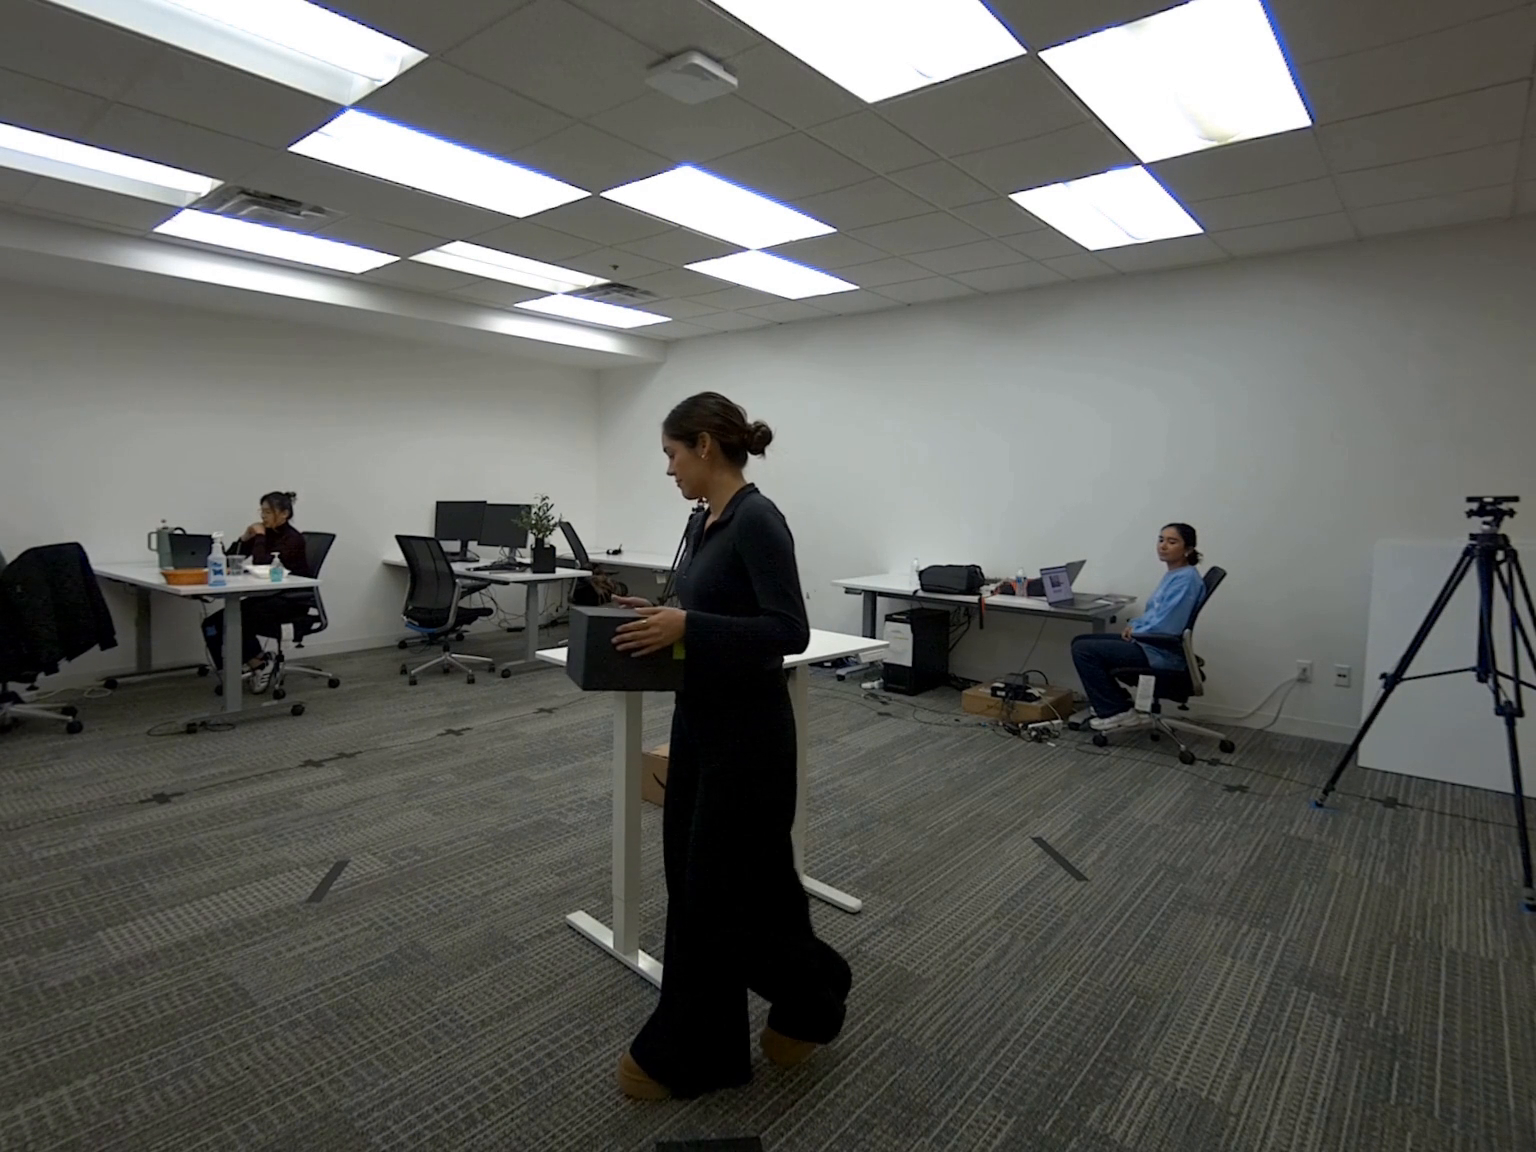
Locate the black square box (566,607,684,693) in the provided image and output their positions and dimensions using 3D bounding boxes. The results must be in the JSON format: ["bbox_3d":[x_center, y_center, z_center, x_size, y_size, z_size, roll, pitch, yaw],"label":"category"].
[{"bbox_3d":[-0.315,0.154,1.866,0.212,0.156,0.233,2,1,-21],"label":"black square box"}]
